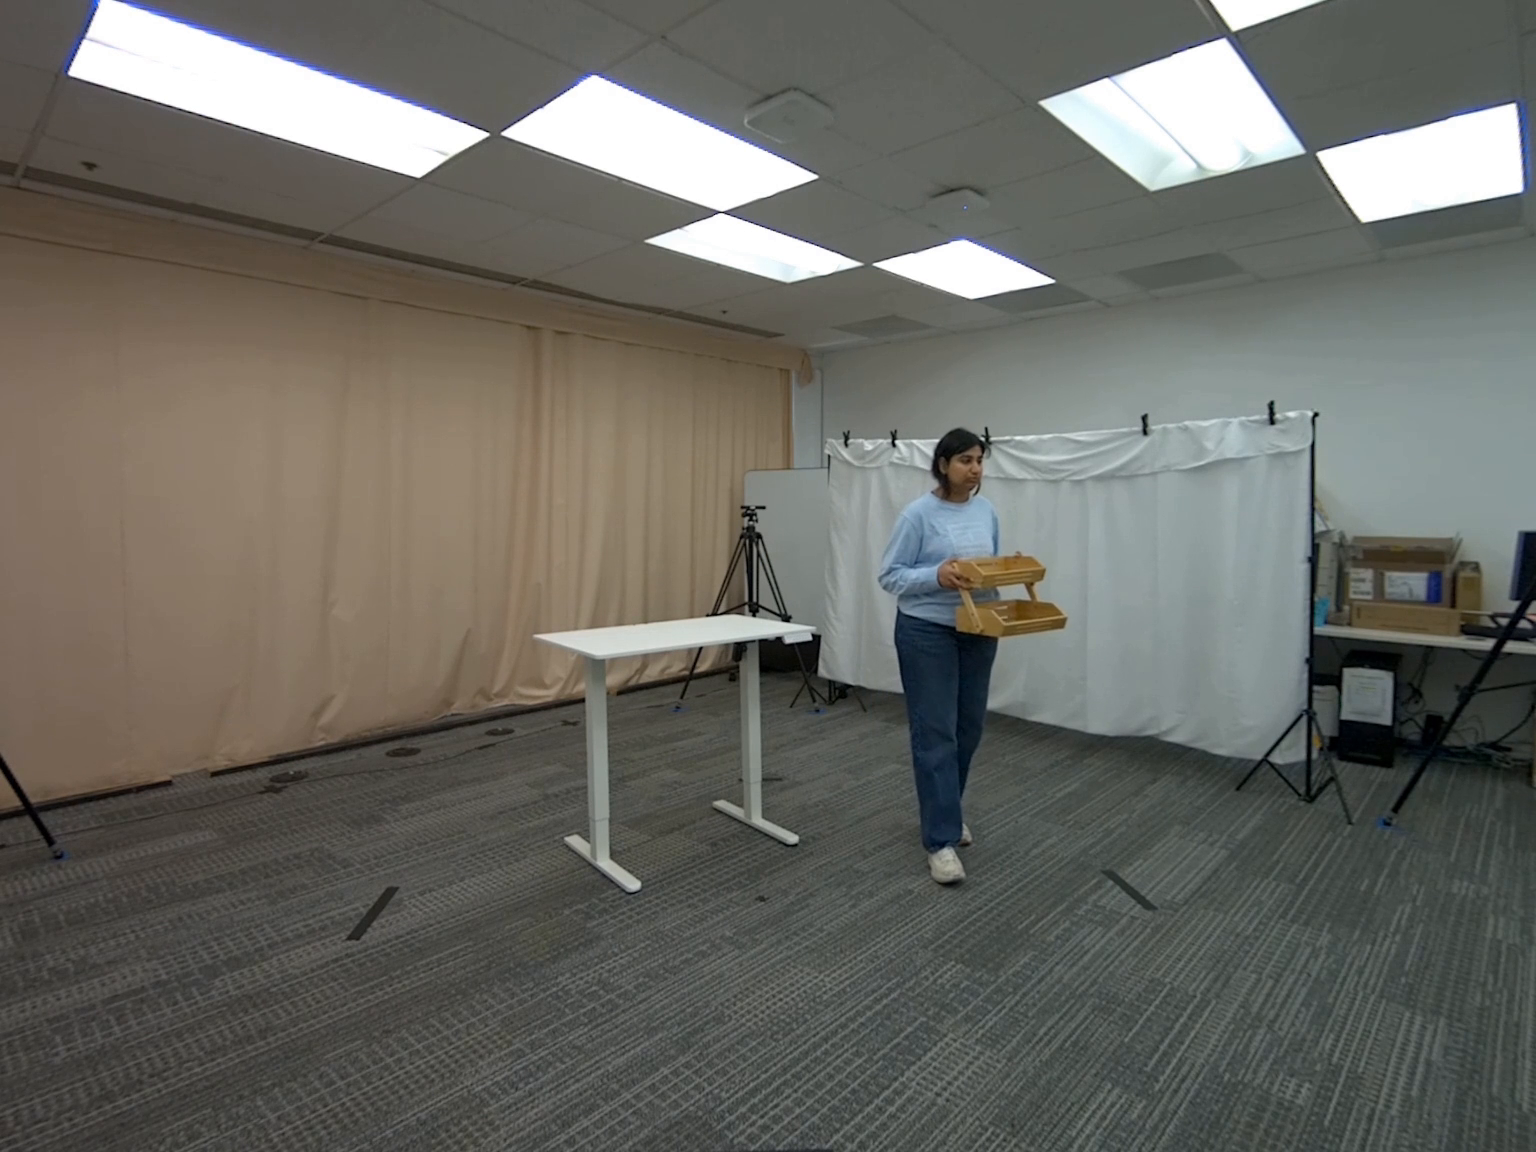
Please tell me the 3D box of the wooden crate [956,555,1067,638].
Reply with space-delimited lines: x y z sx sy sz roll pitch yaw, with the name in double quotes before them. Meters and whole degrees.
"wooden crate" 0.891 0.064 3.114 0.317 0.273 0.309 -4 3 -26
